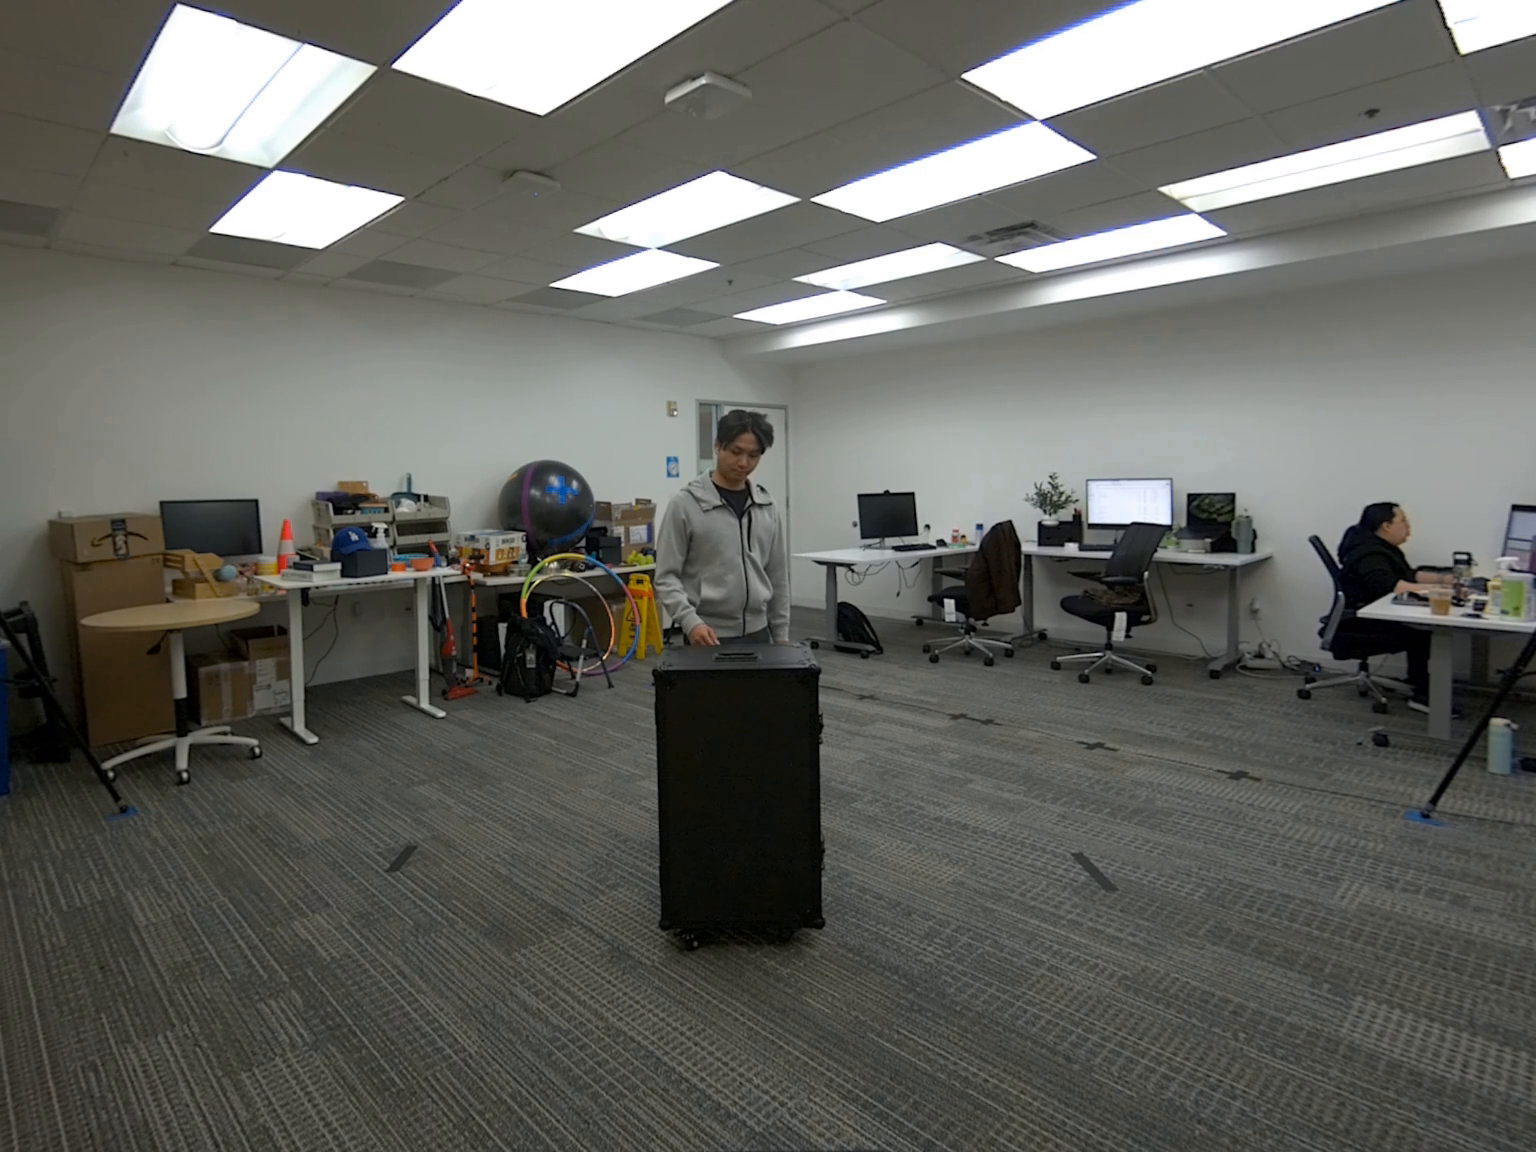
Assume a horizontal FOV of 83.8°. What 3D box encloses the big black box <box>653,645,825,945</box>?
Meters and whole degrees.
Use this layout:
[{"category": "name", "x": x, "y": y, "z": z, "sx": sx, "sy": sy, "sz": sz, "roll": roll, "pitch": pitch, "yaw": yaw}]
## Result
[{"category": "big black box", "x": -0.094, "y": 0.677, "z": 2.682, "sx": 0.521, "sy": 0.858, "sz": 0.398, "roll": -2, "pitch": 4, "yaw": 0}]
